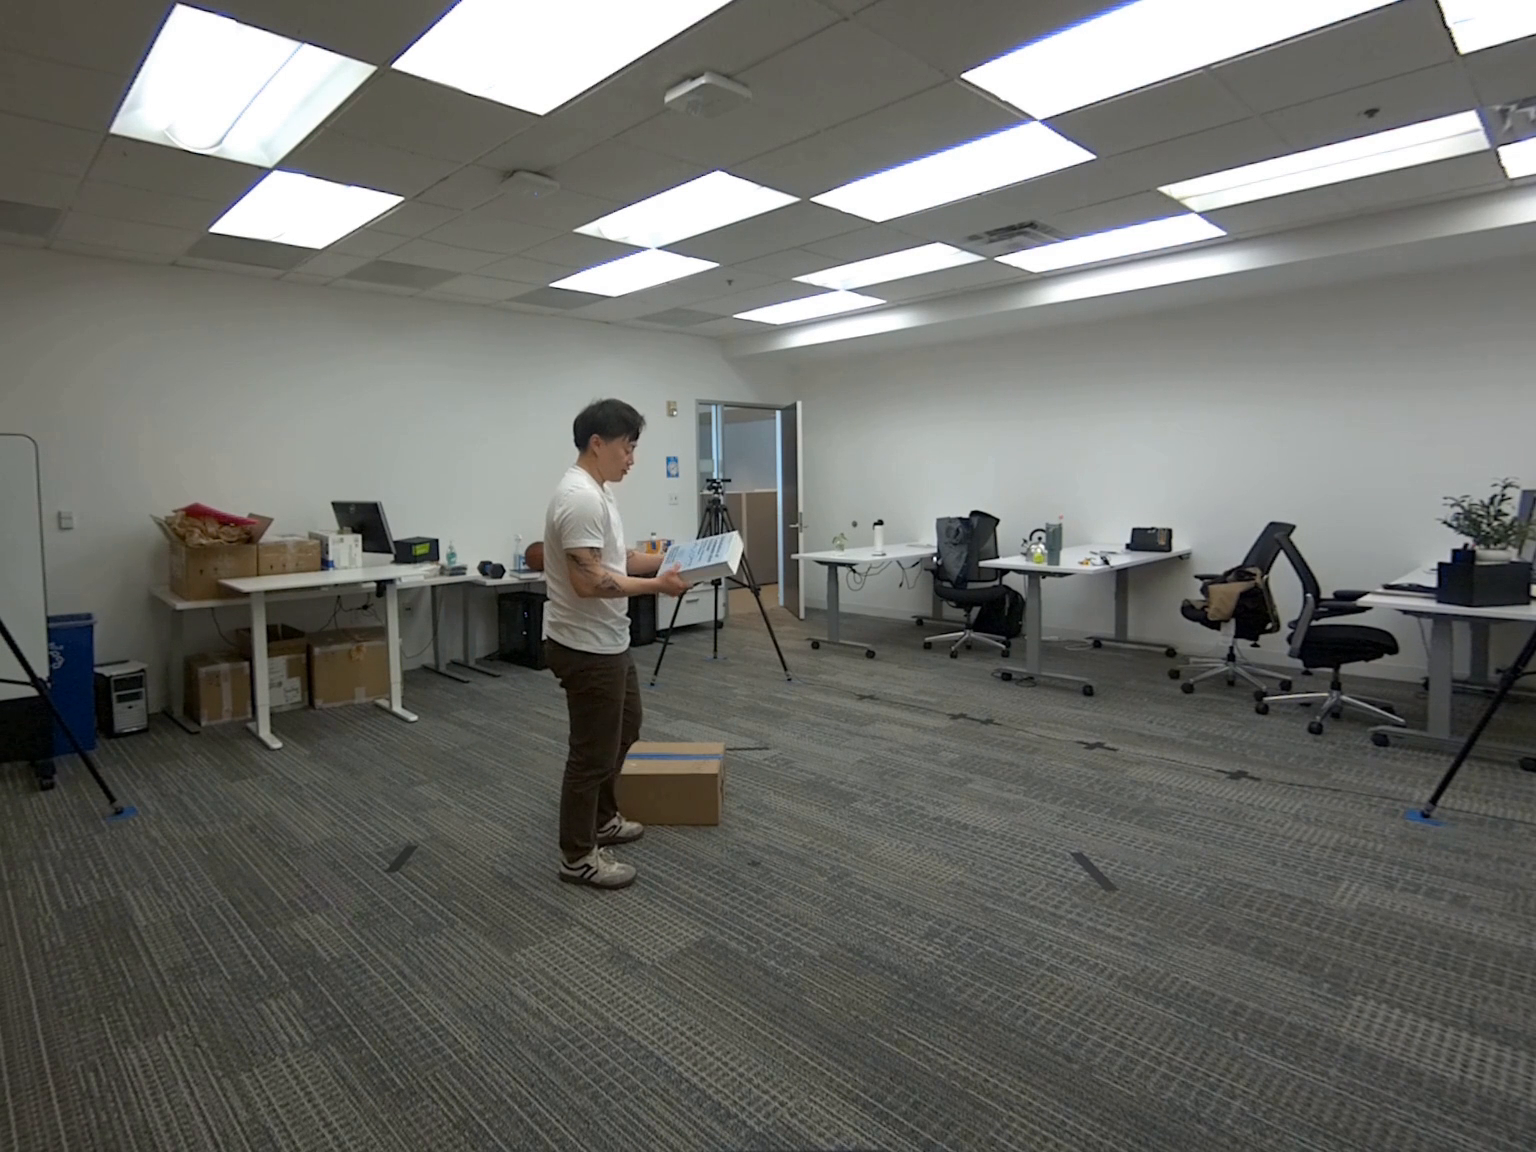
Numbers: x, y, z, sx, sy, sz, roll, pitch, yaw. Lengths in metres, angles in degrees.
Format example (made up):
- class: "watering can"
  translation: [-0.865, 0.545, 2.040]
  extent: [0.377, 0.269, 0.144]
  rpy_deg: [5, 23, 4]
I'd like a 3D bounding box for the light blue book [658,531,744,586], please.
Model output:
- class: "light blue book"
  translation: [-0.225, -0.050, 2.876]
  extent: [0.265, 0.057, 0.194]
  rpy_deg: [-12, 31, 20]
